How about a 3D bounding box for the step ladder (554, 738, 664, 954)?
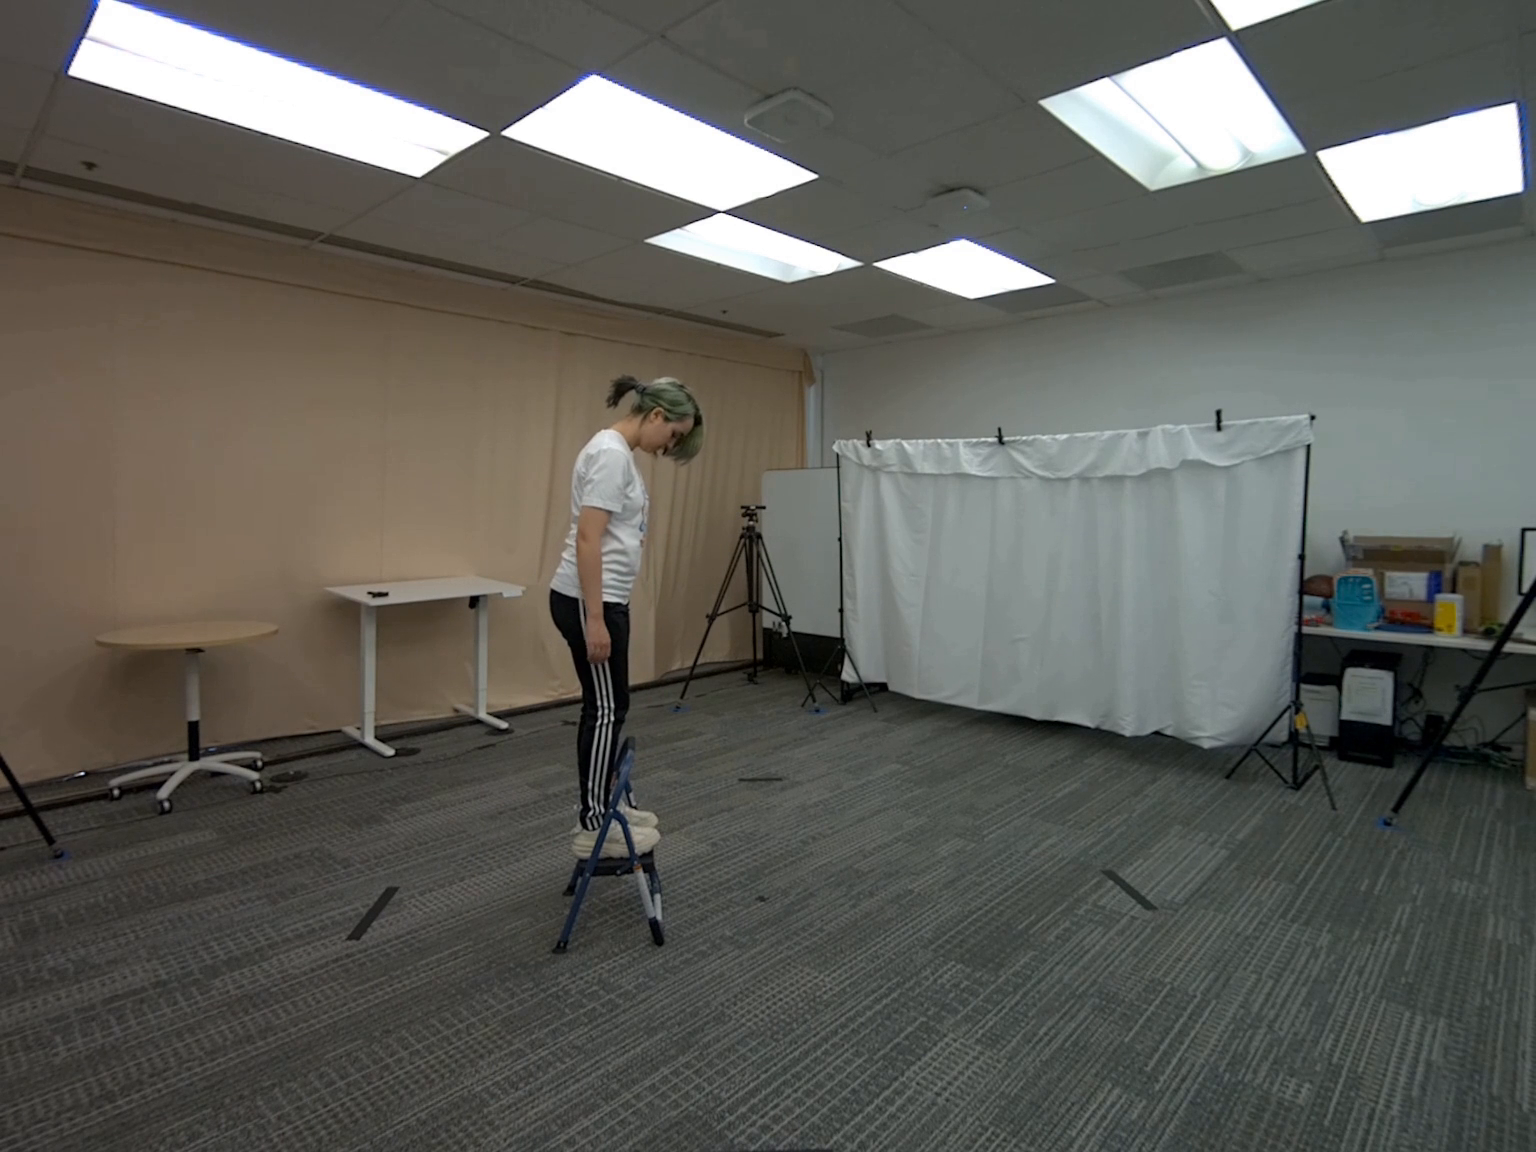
[{"bbox_3d":[-0.532,0.863,2.837,0.347,0.605,0.435,-2,3,-8],"label":"step ladder"}]
